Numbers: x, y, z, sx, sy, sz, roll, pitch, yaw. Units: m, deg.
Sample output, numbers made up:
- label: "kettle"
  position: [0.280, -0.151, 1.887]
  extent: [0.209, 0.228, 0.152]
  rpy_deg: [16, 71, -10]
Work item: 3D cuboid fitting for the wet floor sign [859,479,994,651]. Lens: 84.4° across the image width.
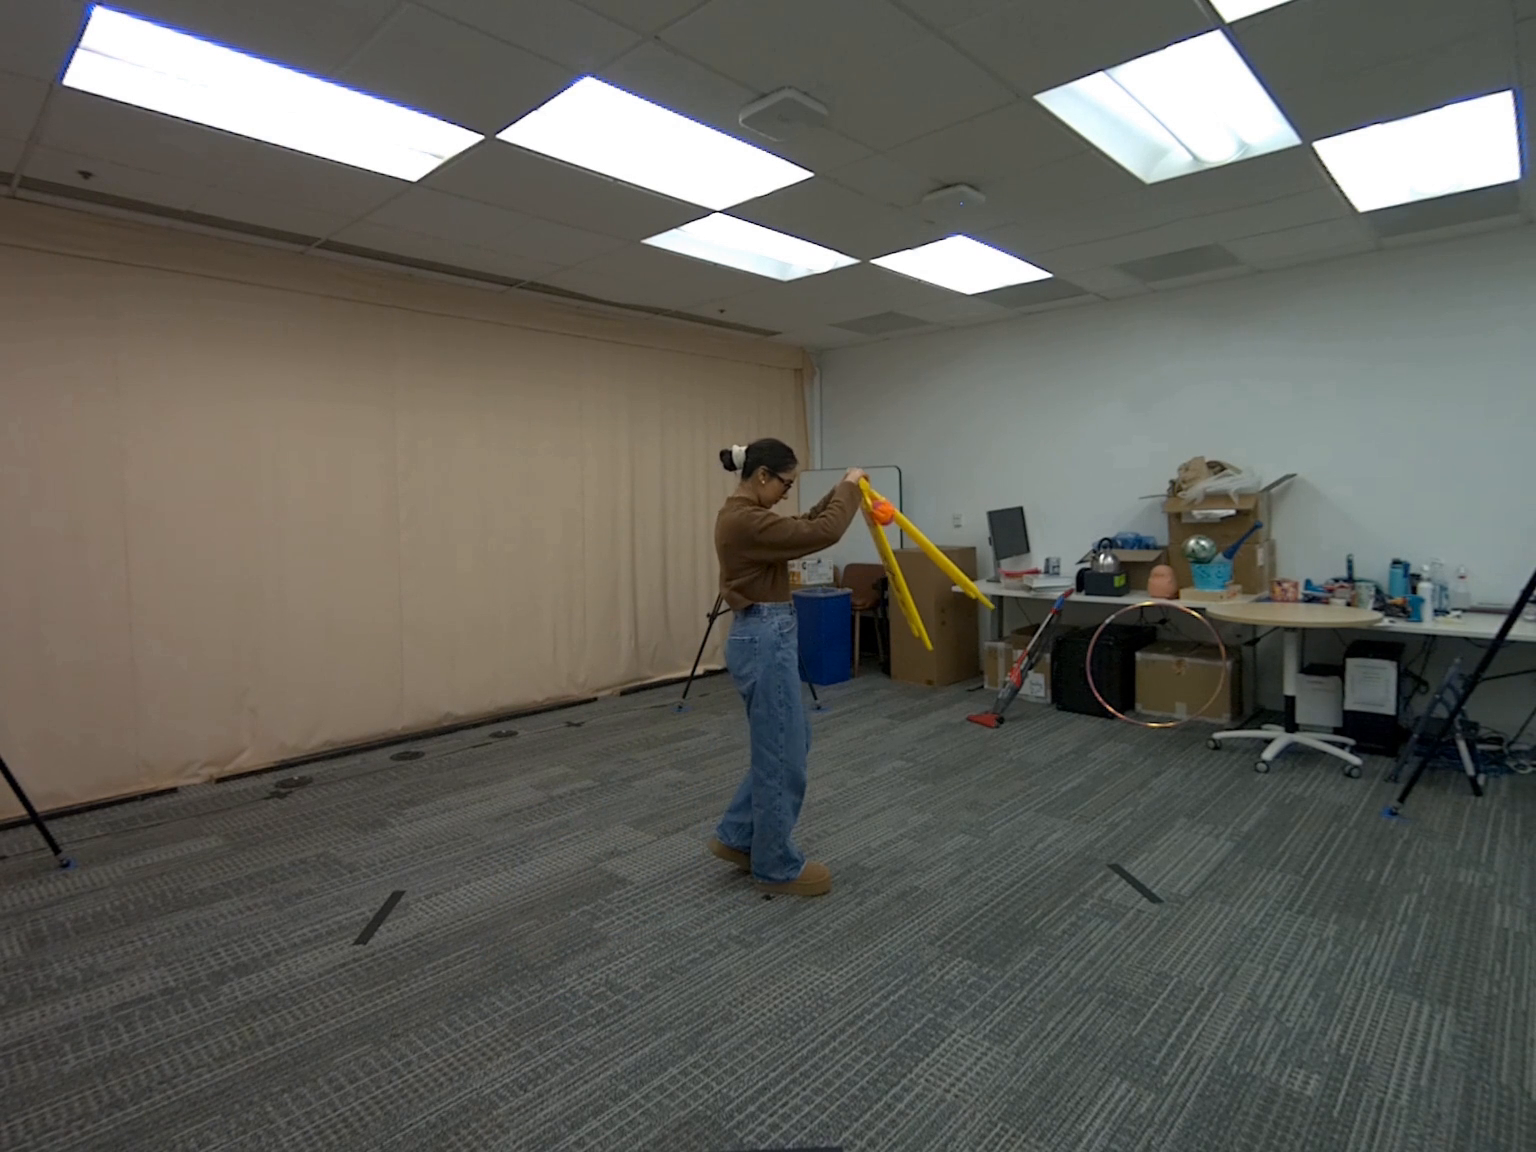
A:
- label: "wet floor sign"
  position: [0.498, -0.088, 3.043]
  extent: [0.290, 0.641, 0.284]
  rpy_deg: [-33, 7, 3]
